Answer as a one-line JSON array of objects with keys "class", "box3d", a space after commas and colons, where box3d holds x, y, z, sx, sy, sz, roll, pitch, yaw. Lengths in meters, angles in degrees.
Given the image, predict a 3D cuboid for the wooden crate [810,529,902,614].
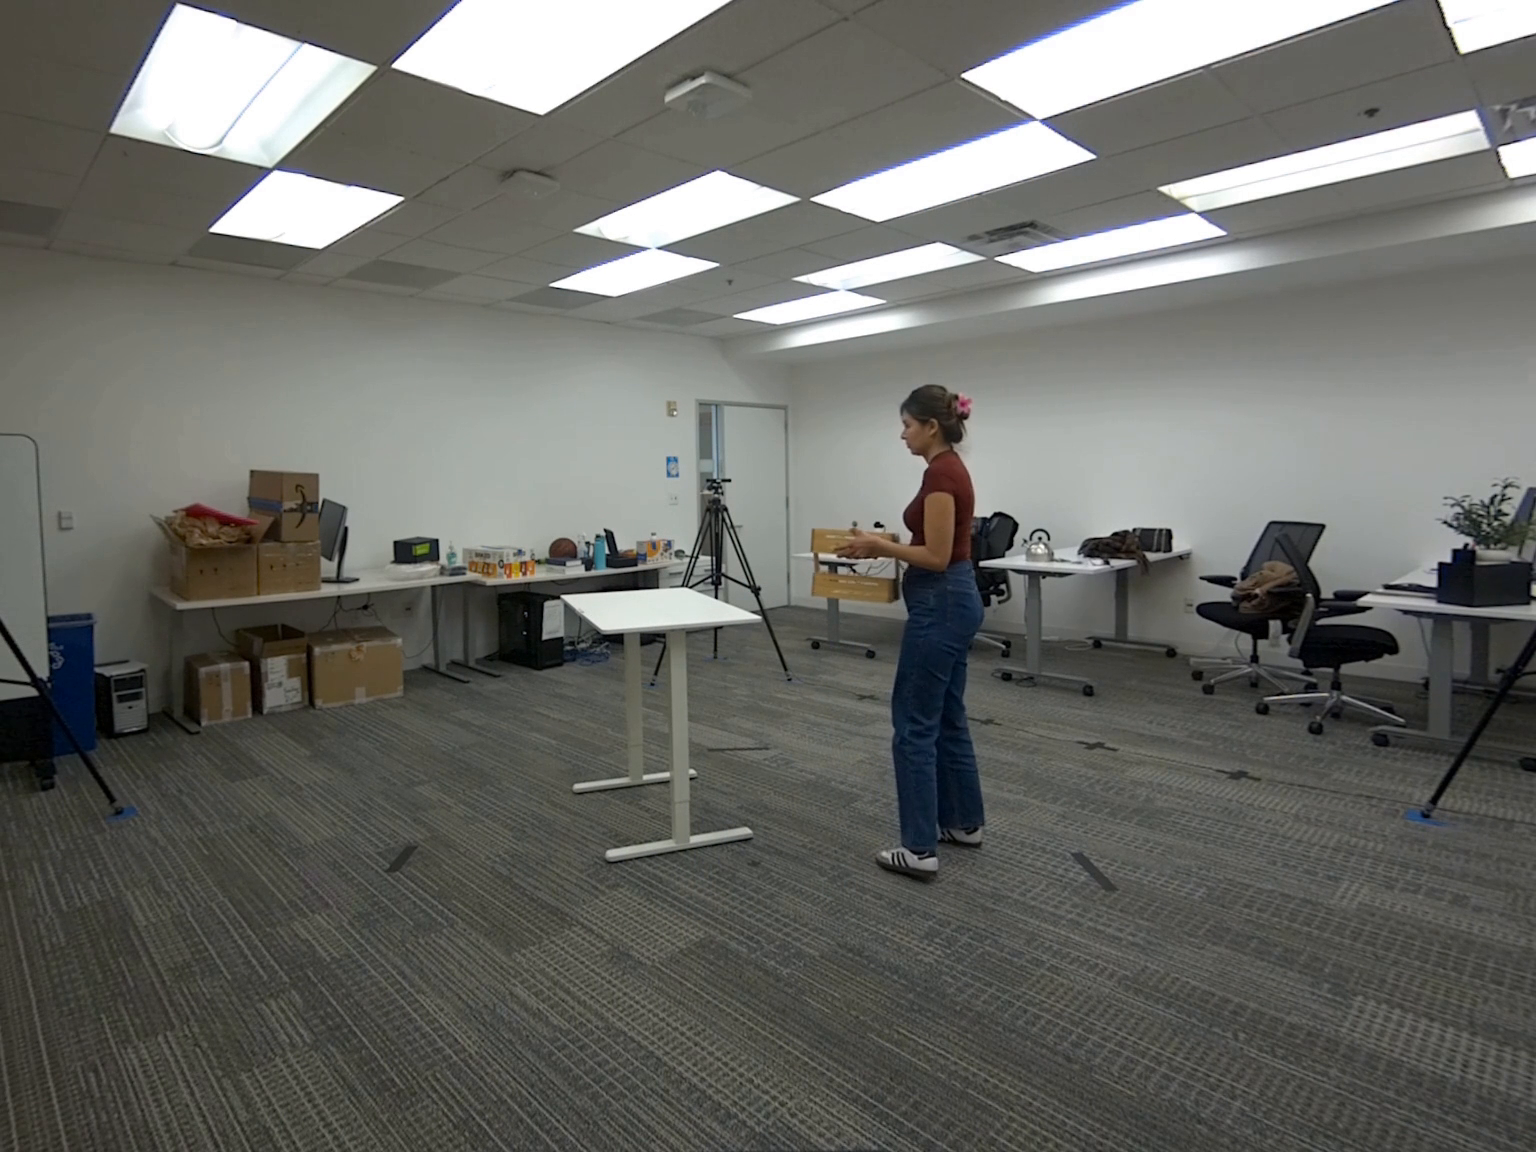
[{"class": "wooden crate", "box3d": [0.349, -0.048, 3.286, 0.331, 0.273, 0.296, 5, 2, 20]}]
